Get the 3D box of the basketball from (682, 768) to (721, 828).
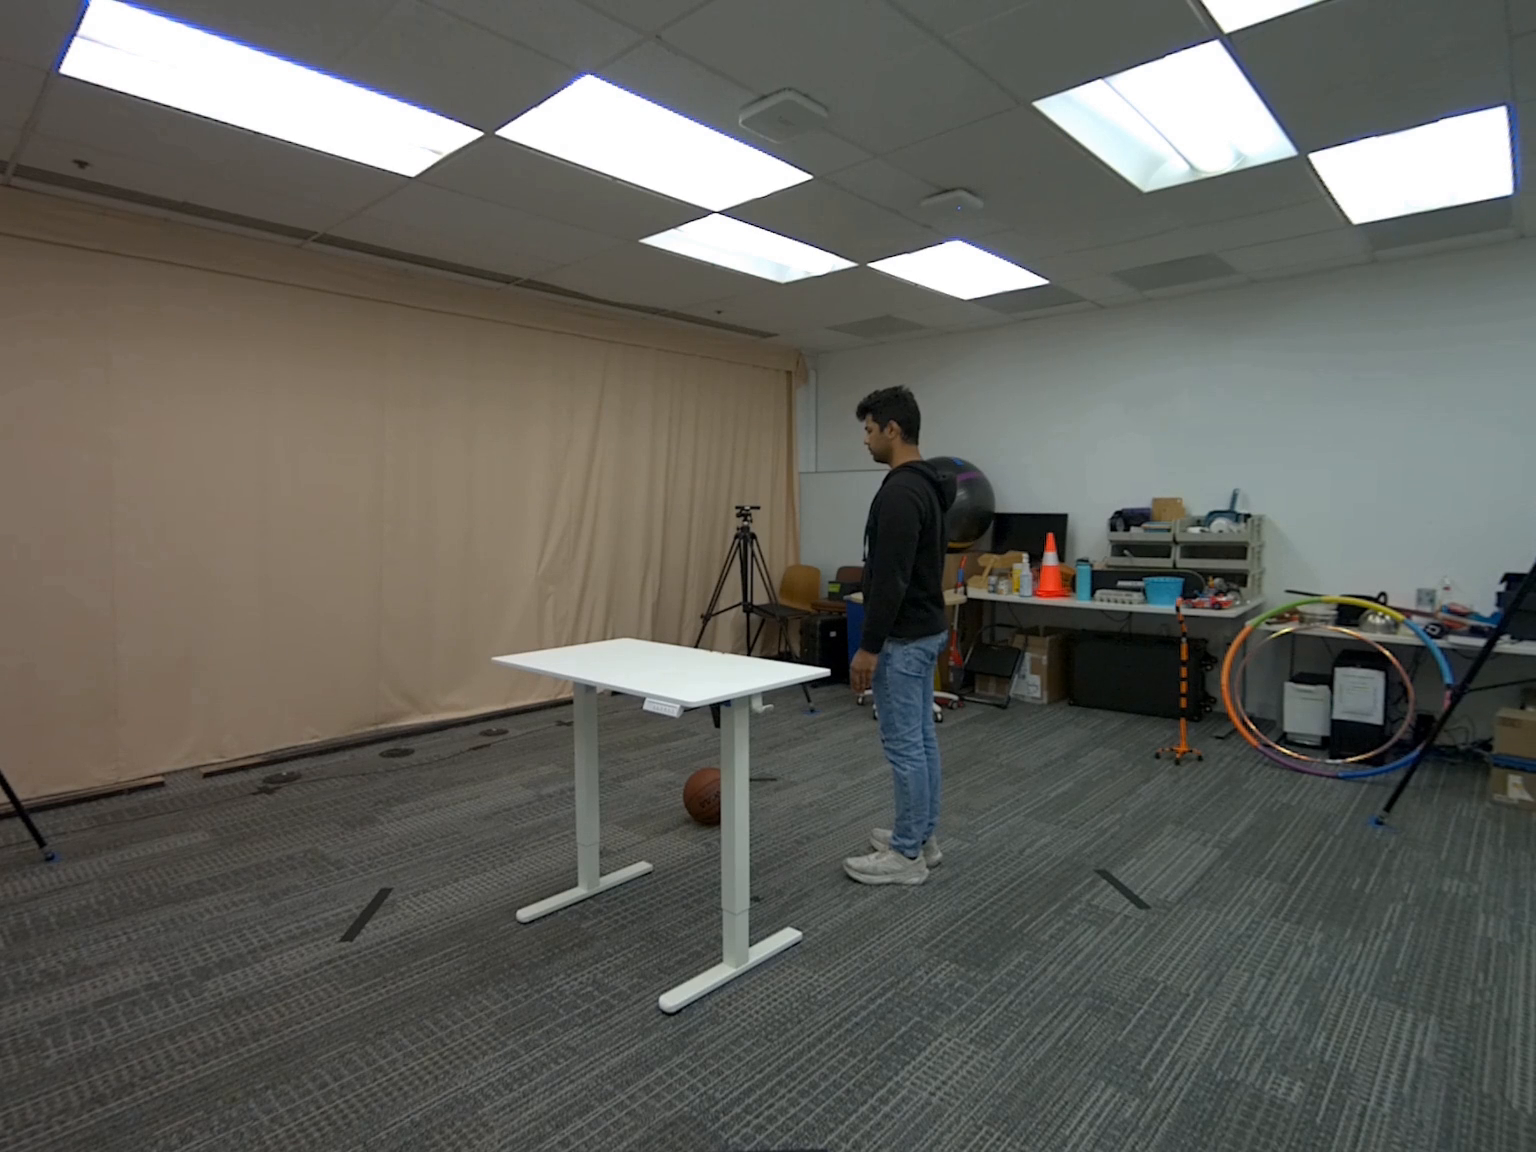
[{"bbox_3d":[-0.255,0.960,3.710,0.236,0.235,0.237,0,4,-2],"label":"basketball"}]
